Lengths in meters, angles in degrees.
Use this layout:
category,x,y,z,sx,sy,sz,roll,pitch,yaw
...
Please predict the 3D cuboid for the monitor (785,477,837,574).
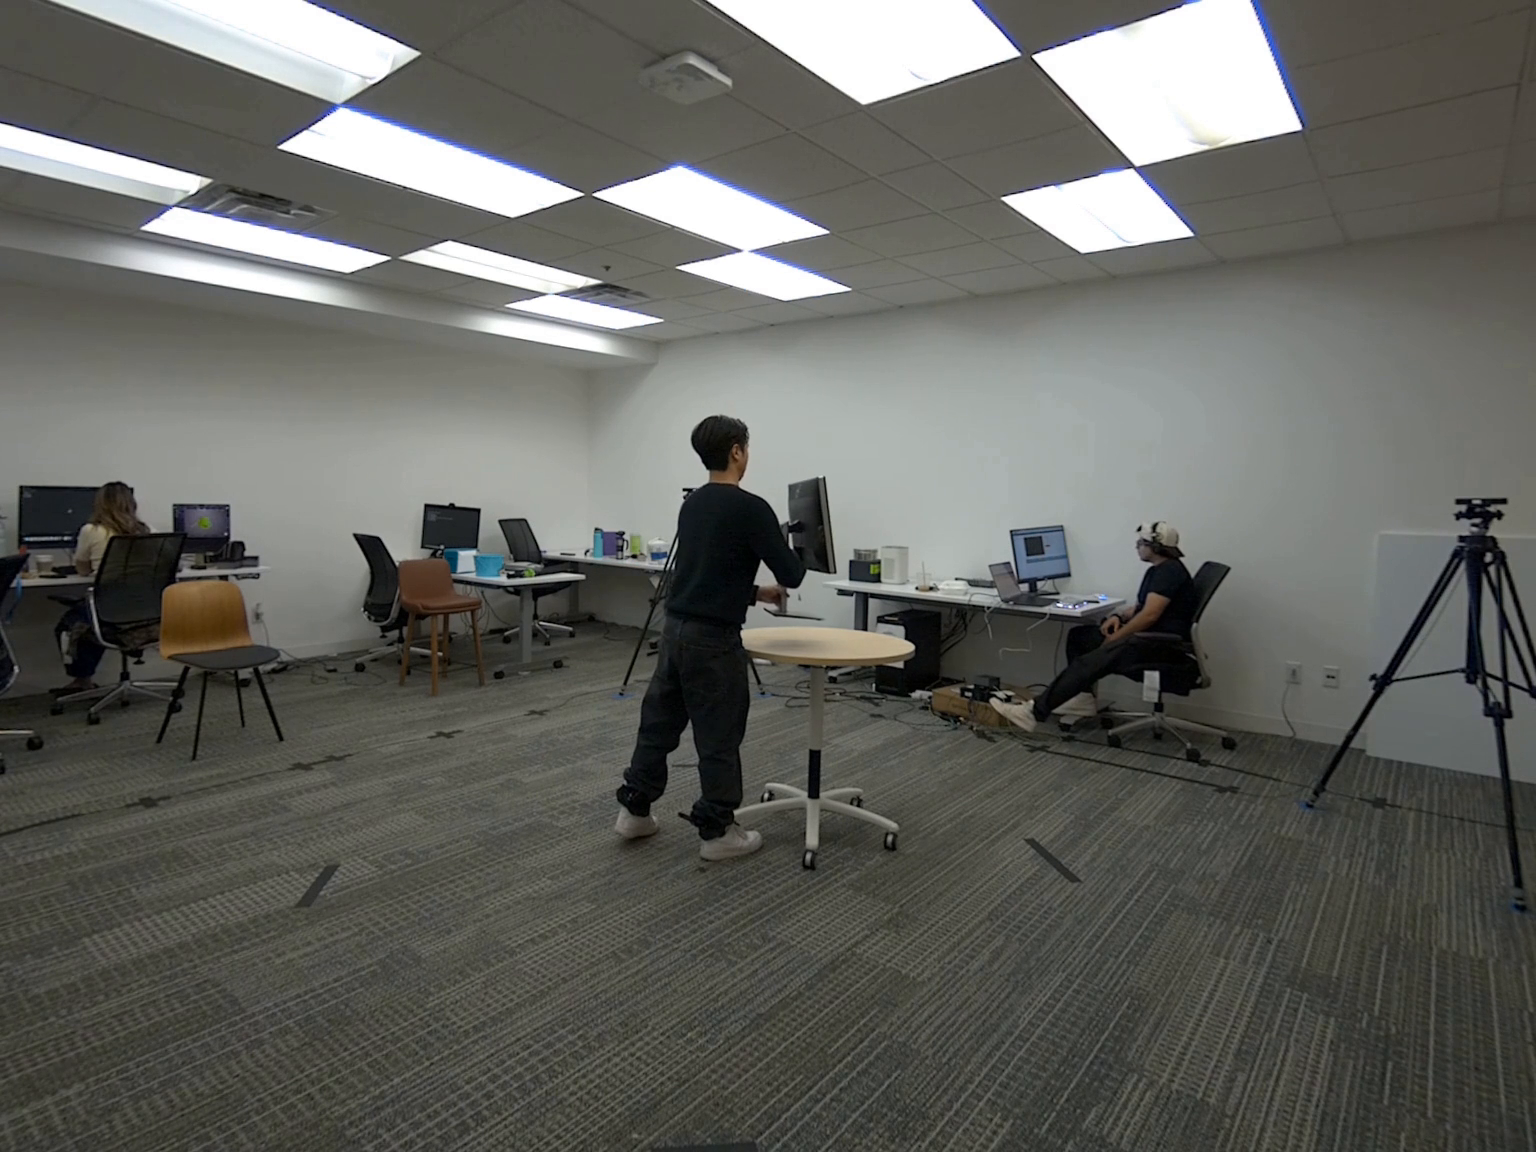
category,x,y,z,sx,sy,sz,roll,pitch,yaw
monitor,0.120,-0.111,3.378,0.172,0.516,0.536,10,0,-12
